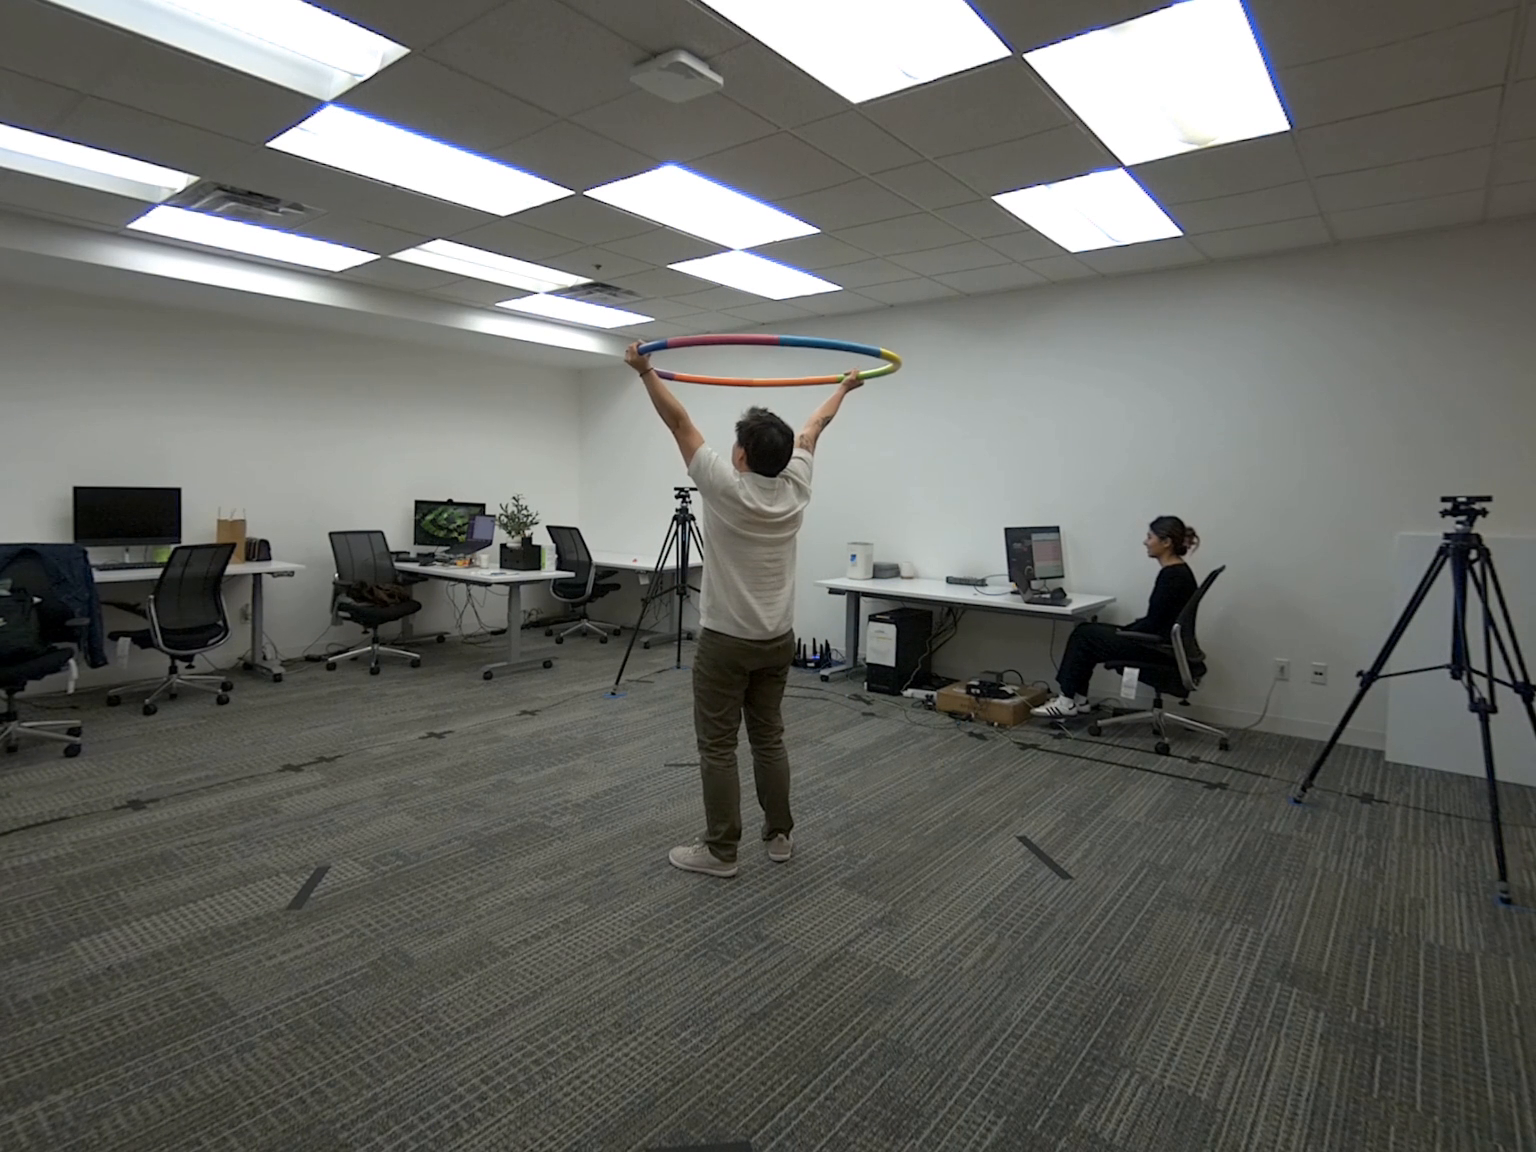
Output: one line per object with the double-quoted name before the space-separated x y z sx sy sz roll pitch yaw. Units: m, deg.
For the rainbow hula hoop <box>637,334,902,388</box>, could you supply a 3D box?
"rainbow hula hoop" -0.024 -0.771 3.084 0.978 0.035 0.983 1 5 -2
